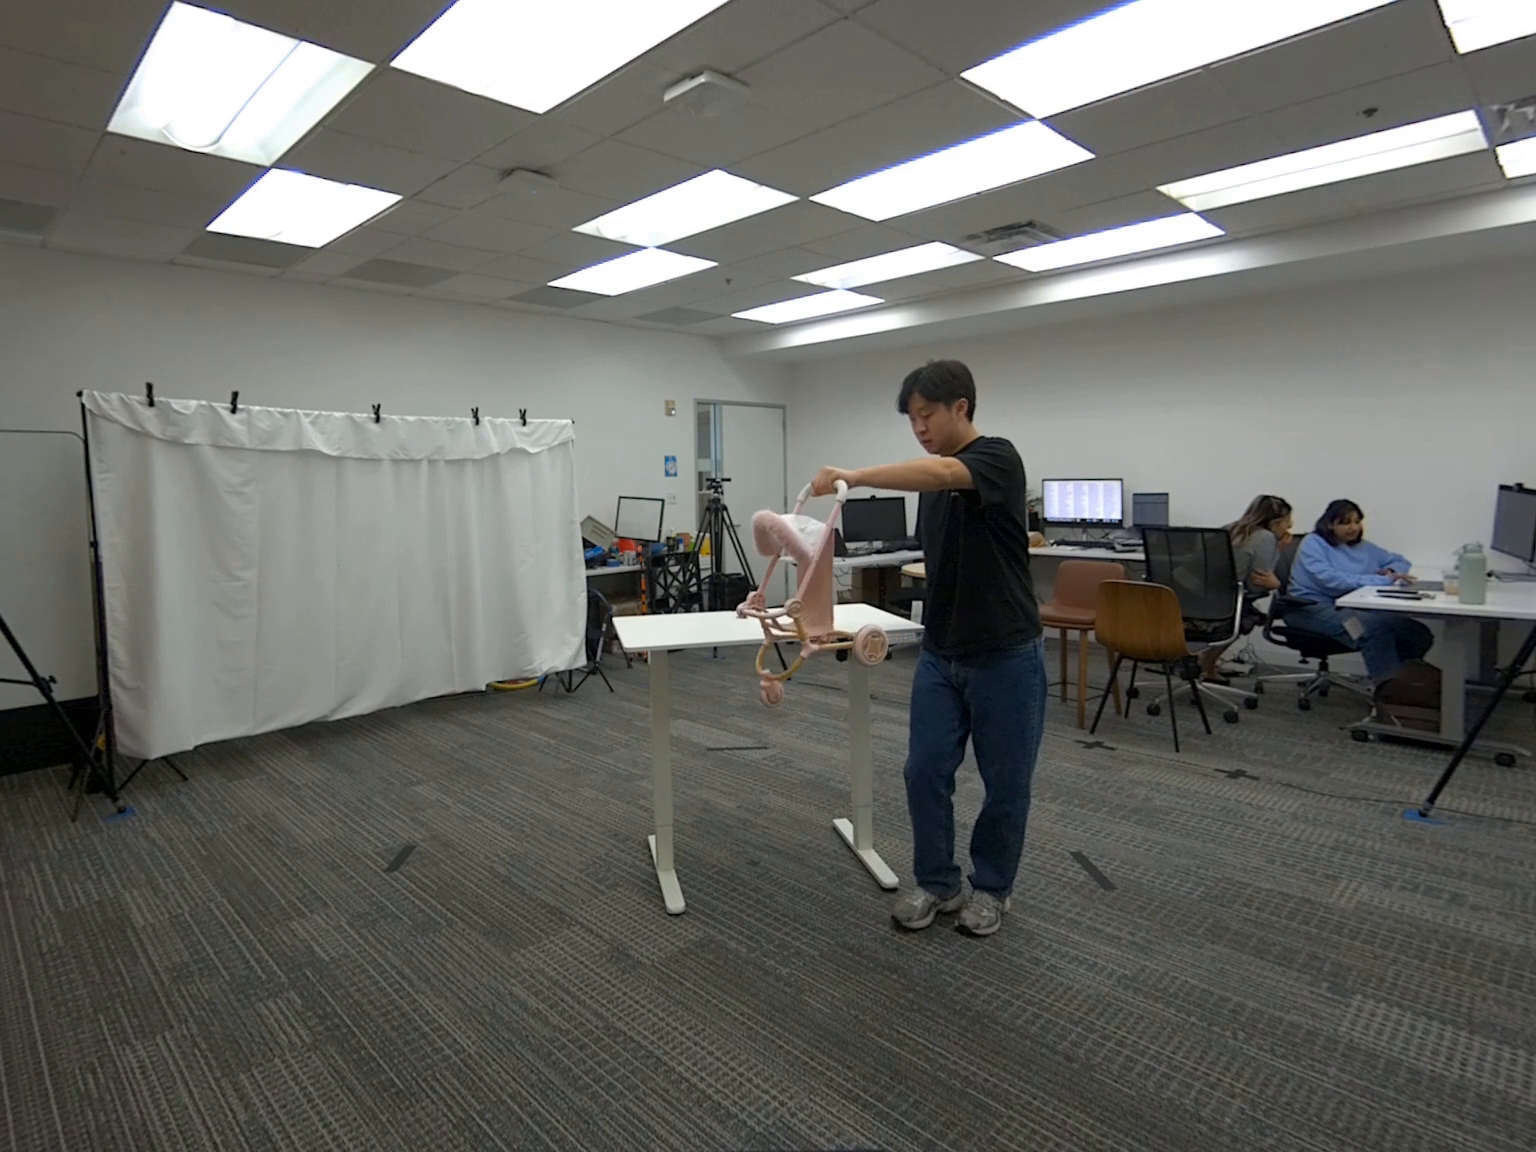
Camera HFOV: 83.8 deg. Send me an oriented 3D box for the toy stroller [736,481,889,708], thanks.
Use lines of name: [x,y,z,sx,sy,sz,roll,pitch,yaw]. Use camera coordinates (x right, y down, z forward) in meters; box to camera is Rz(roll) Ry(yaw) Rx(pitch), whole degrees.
toy stroller: [0.079,0.052,2.231,0.336,0.529,0.288,-16,11,-23]
